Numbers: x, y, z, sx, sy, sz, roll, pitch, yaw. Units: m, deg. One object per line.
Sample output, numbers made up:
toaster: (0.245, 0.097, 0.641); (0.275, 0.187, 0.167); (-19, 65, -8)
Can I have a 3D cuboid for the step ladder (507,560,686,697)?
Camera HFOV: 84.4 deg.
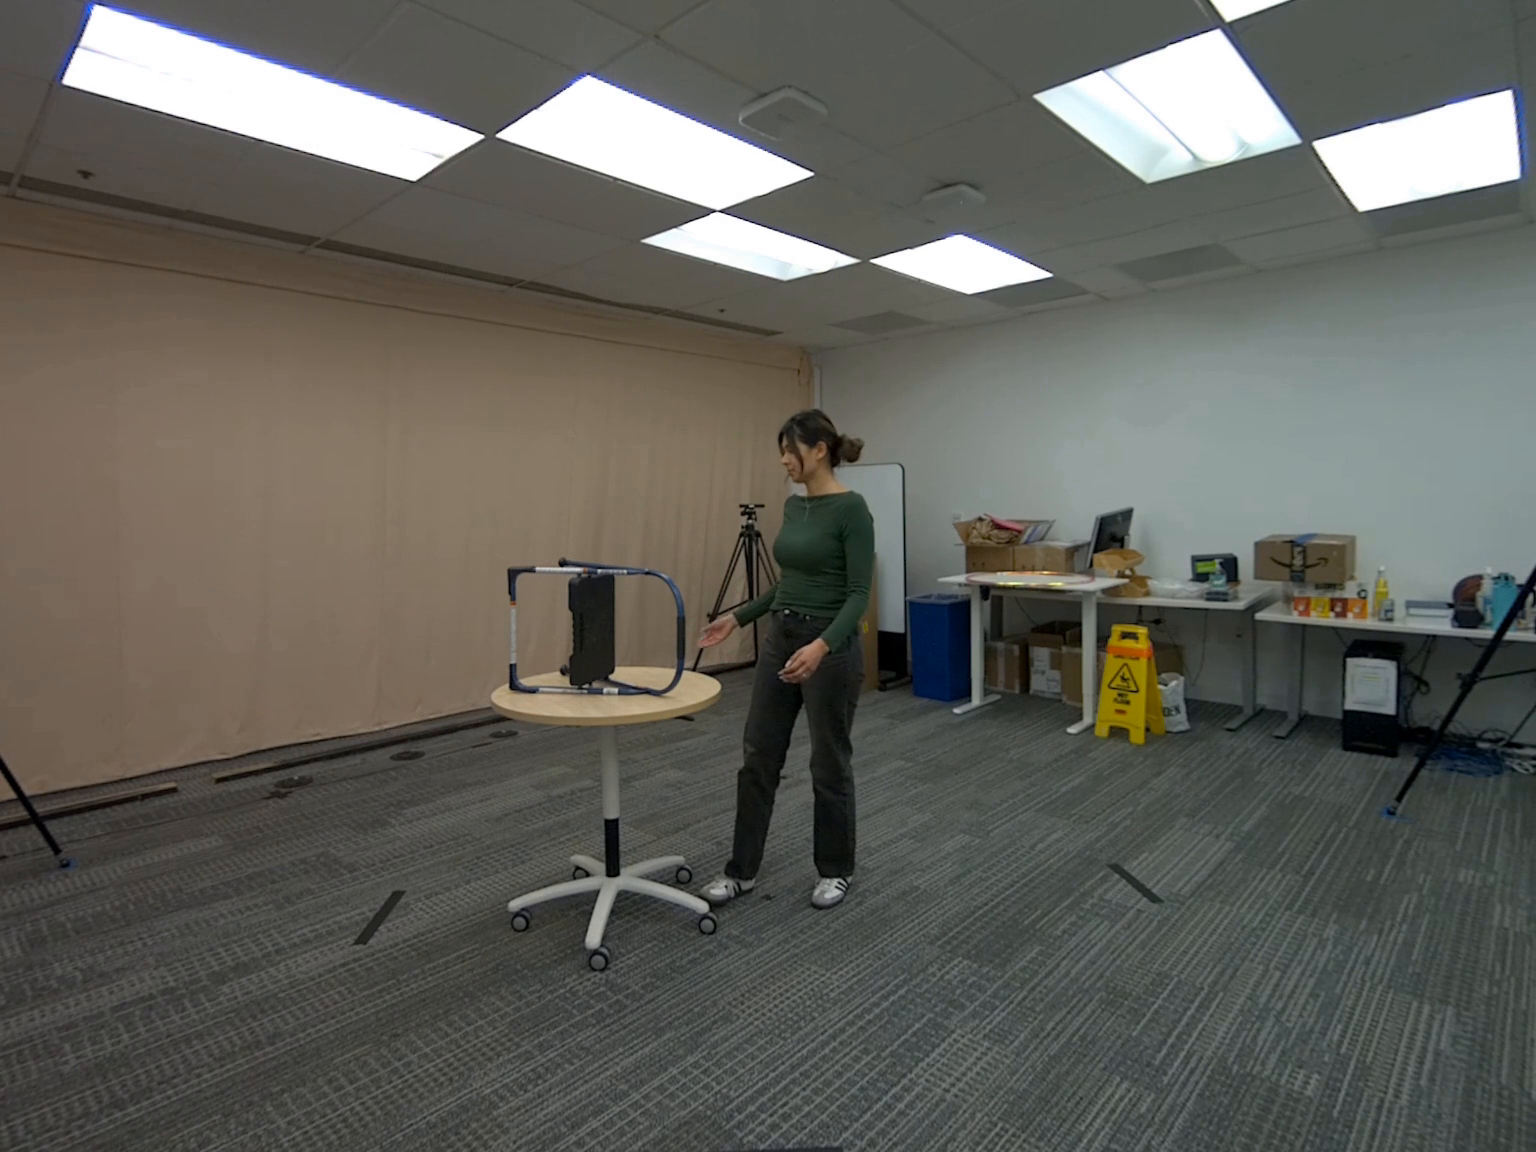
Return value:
step ladder: (-0.522, 0.174, 2.826); (0.620, 0.429, 0.342); (2, 6, 22)
